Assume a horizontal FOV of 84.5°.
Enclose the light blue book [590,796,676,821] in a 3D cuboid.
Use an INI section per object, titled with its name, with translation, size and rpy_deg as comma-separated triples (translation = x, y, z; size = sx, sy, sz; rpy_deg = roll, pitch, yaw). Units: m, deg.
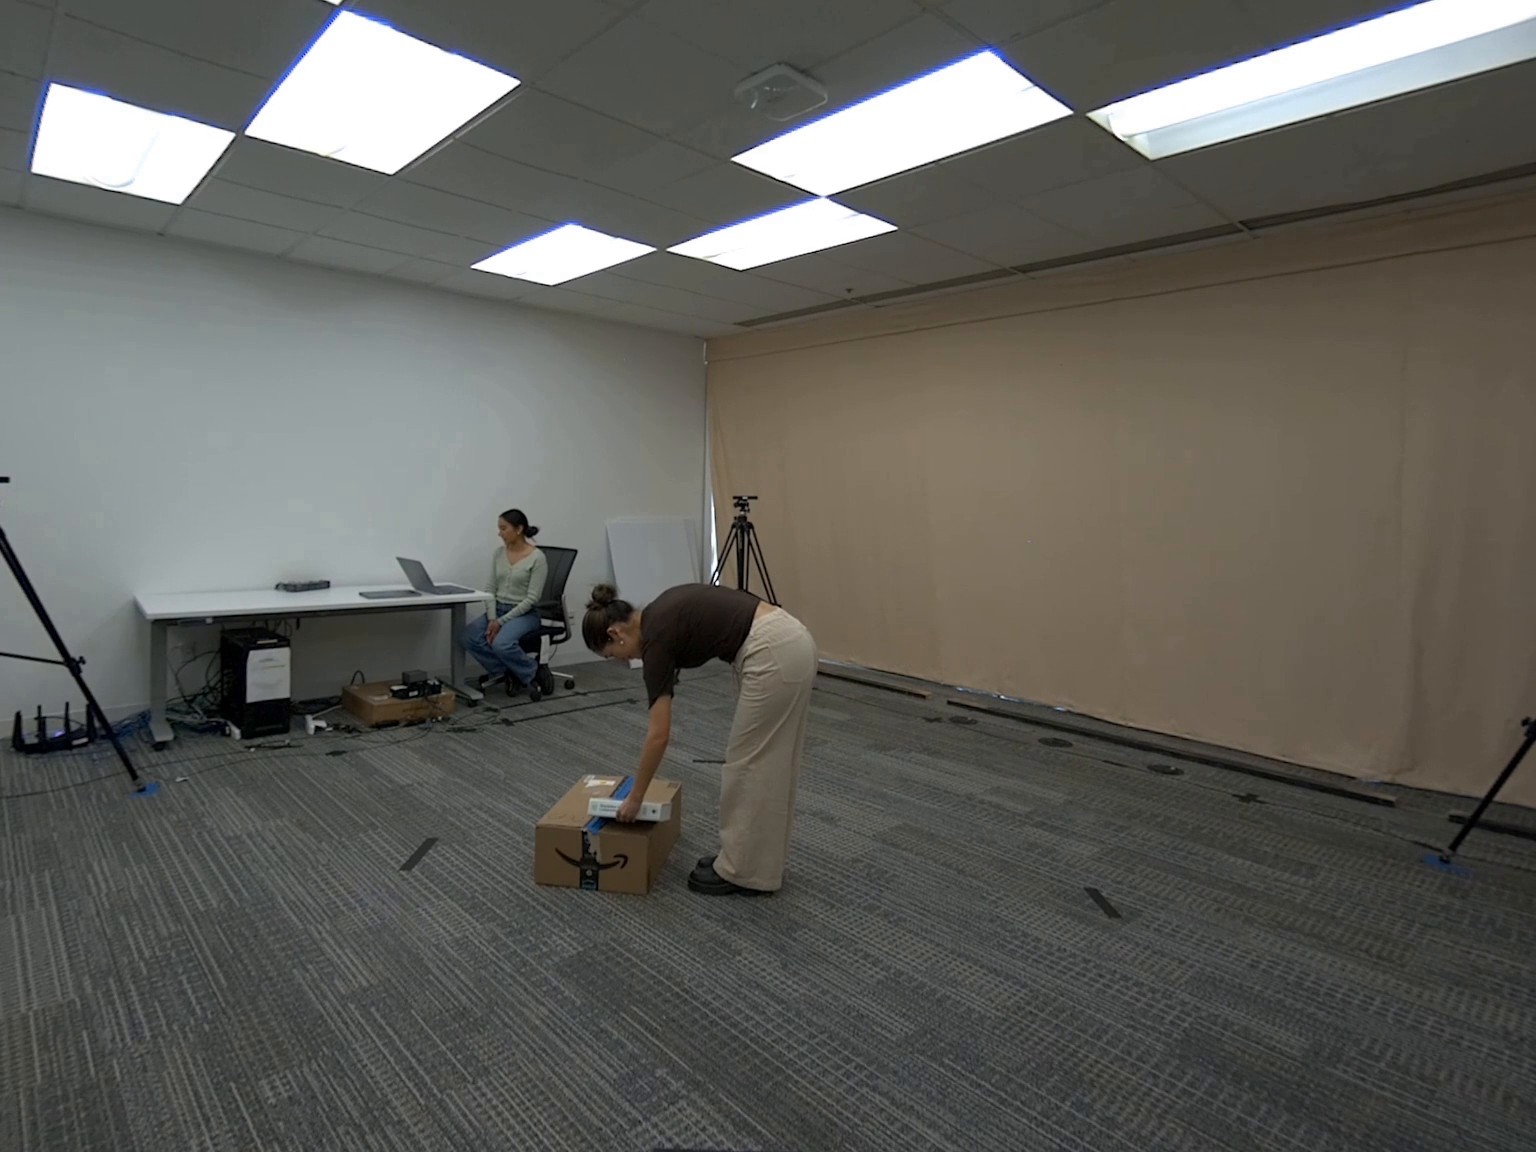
[light blue book]
translation = -0.482, 0.829, 3.030
size = 0.263, 0.059, 0.188
rpy_deg = 2, -13, 8
